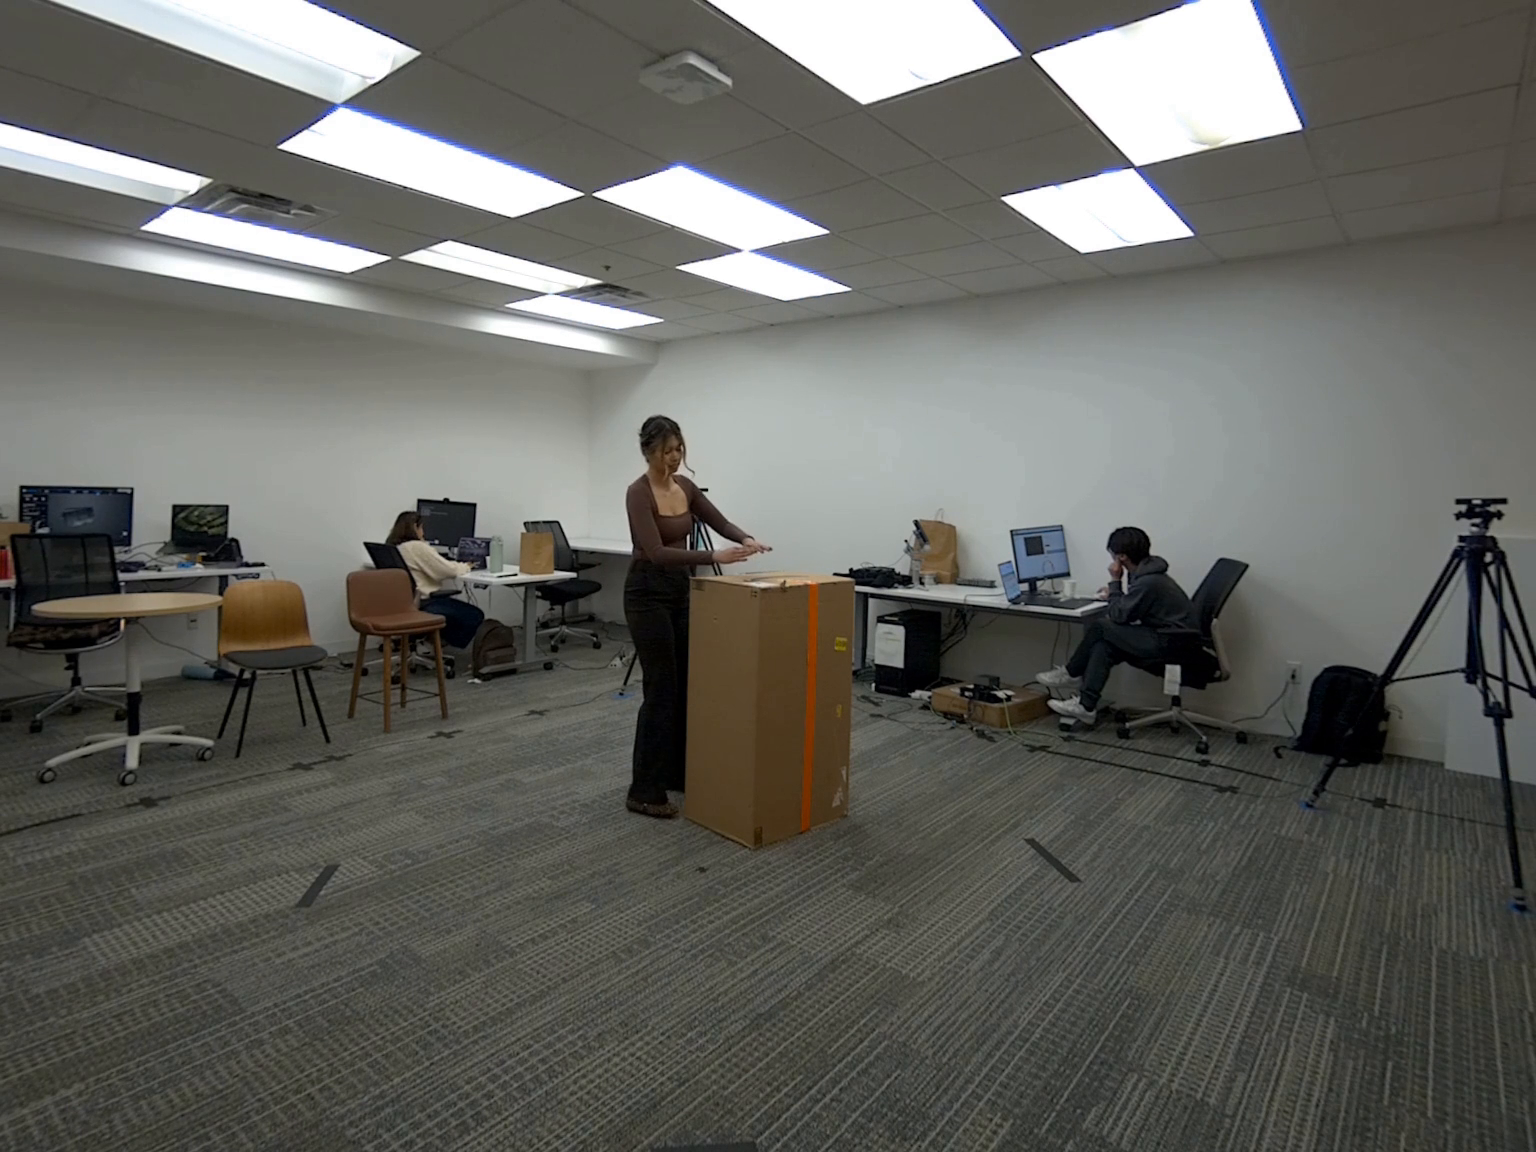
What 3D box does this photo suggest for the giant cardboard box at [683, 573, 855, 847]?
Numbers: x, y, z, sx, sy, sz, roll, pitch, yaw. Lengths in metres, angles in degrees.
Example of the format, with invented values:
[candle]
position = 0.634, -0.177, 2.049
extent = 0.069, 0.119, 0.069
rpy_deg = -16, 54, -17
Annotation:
[giant cardboard box]
position = 0.002, 0.514, 3.604
extent = 0.566, 1.024, 0.462
rpy_deg = -2, 5, -43
